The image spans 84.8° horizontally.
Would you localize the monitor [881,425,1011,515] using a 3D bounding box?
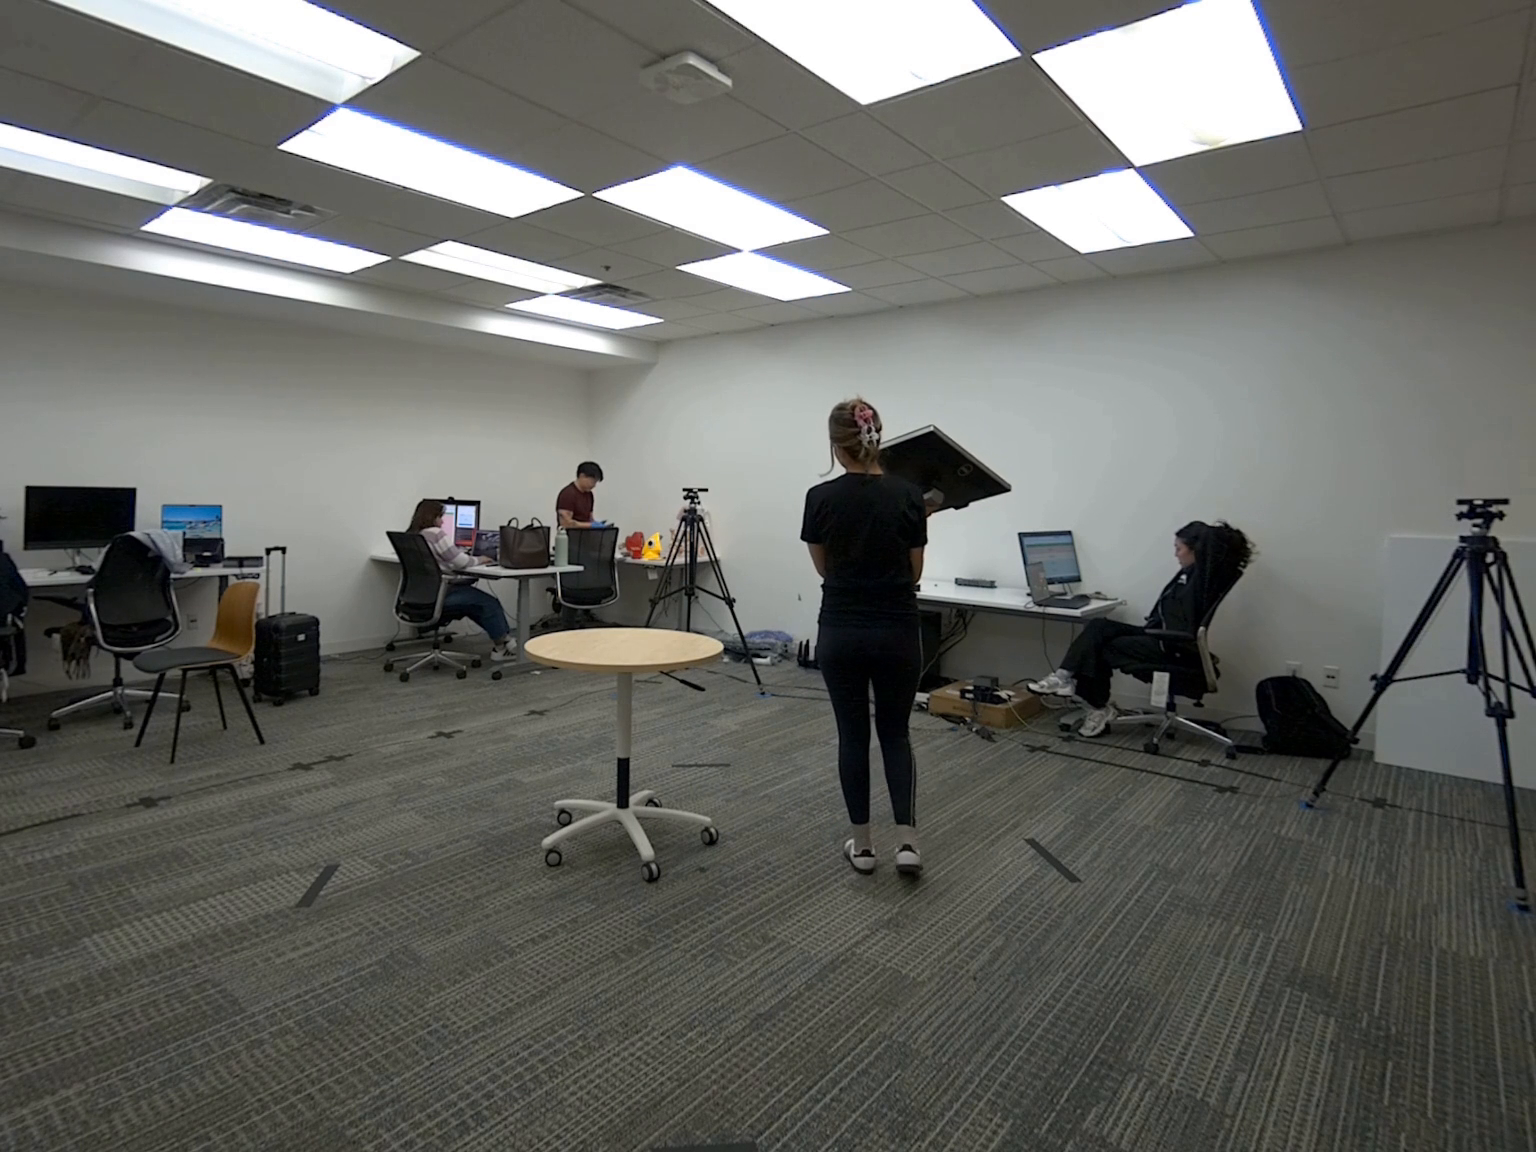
[{"bbox_3d":[0.565,-0.335,3.323,0.528,0.193,0.517,-31,-39,33],"label":"monitor"}]
